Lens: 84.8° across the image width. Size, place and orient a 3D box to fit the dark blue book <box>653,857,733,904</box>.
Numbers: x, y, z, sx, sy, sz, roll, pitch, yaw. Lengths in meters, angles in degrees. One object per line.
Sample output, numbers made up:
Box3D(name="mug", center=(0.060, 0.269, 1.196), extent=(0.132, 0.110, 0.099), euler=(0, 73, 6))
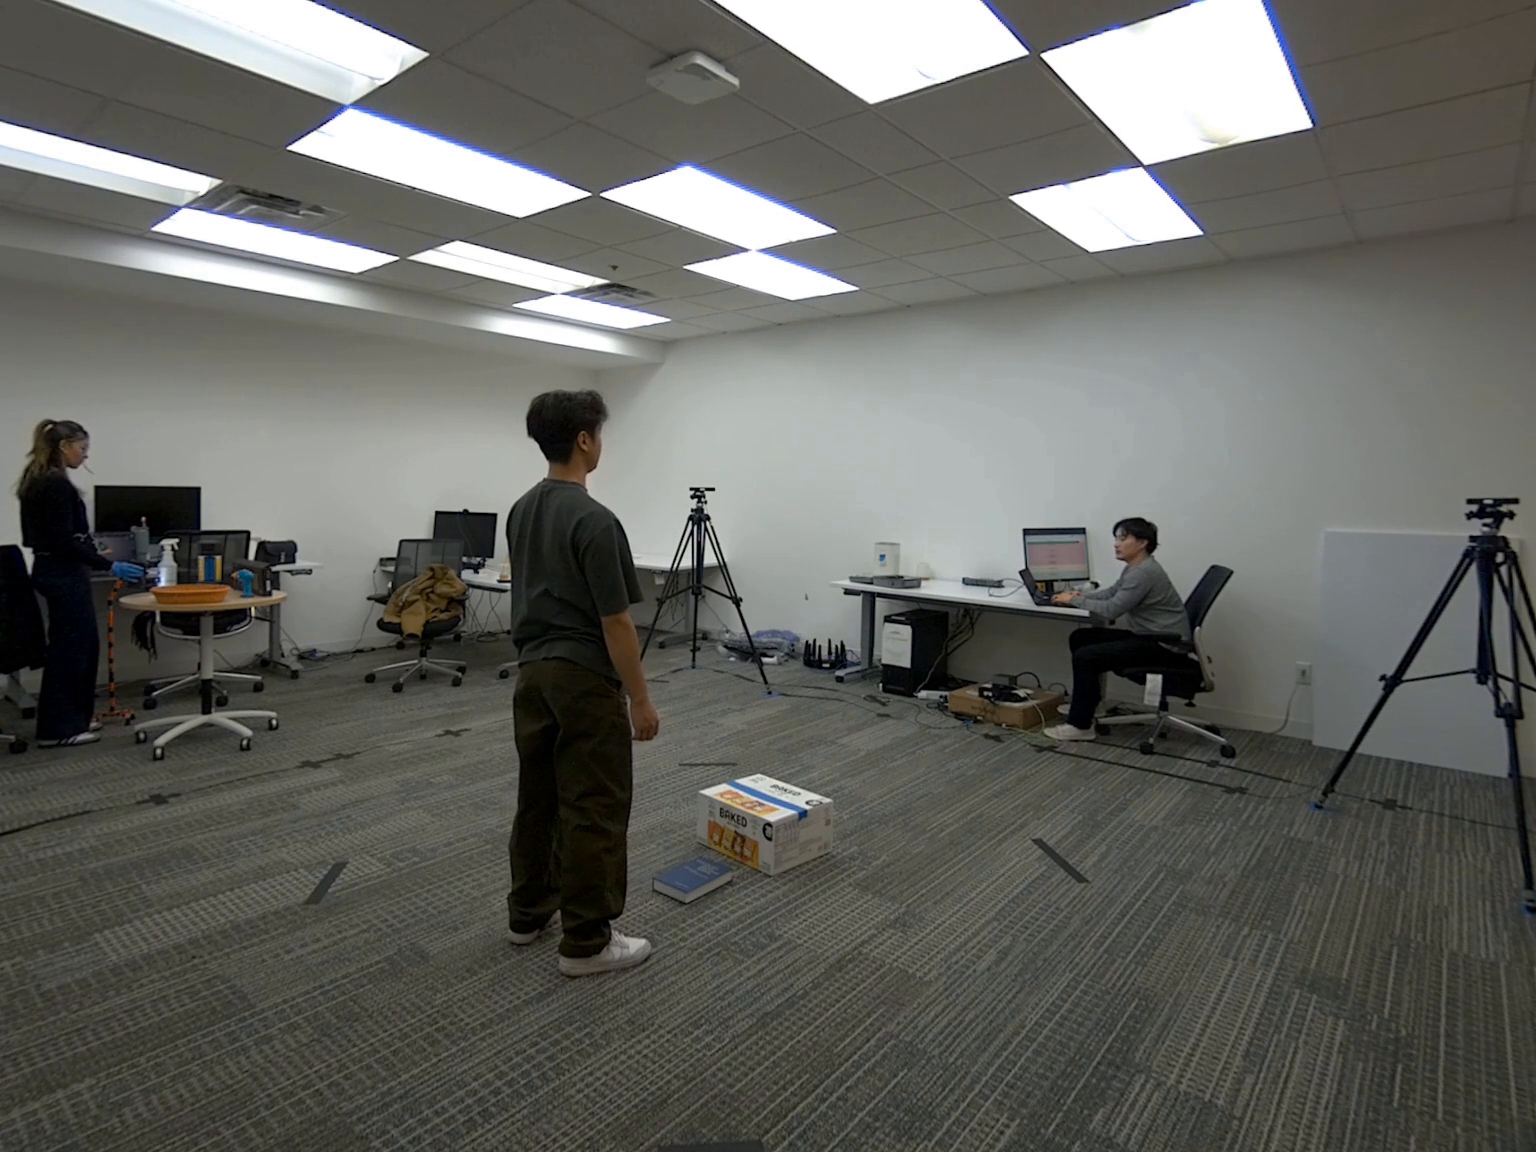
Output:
Box3D(name="dark blue book", center=(-0.270, 1.052, 2.971), extent=(0.169, 0.045, 0.238), euler=(5, 6, 38))
